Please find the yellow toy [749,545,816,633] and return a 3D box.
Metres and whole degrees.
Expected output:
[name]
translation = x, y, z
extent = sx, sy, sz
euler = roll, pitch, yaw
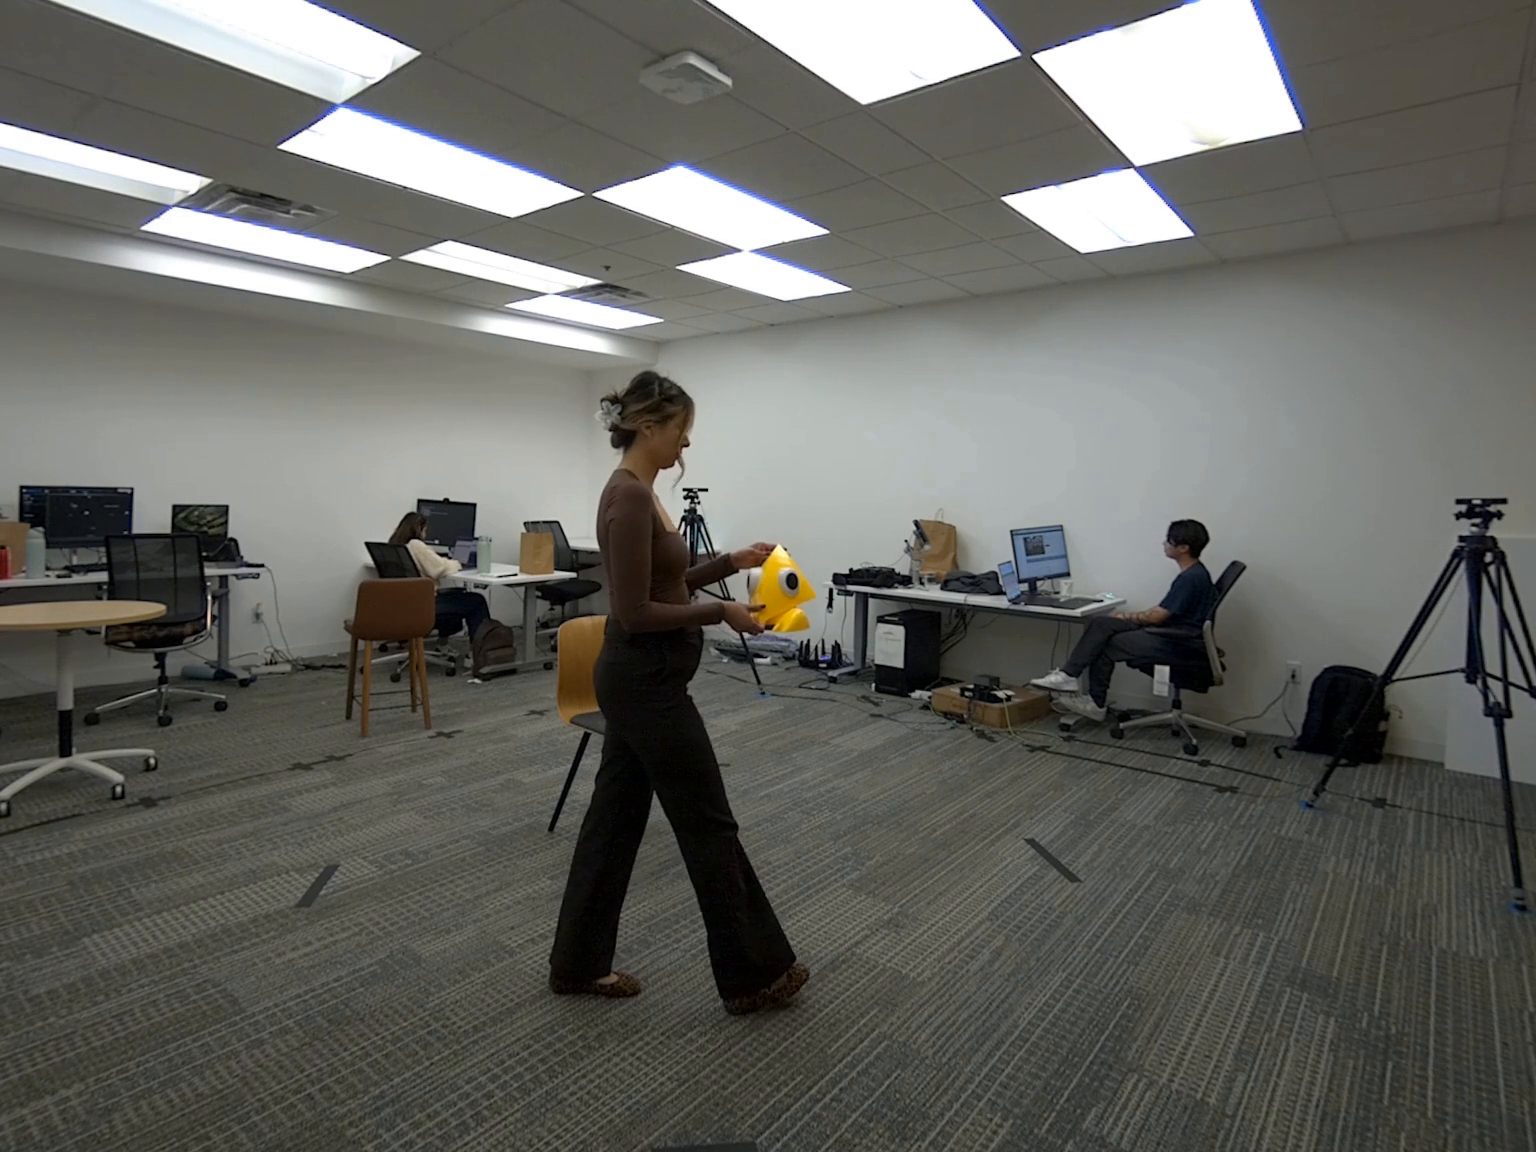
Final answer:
[yellow toy]
translation = 0.005, 0.027, 2.348
extent = 0.209, 0.231, 0.189
euler = -2, 1, 21
